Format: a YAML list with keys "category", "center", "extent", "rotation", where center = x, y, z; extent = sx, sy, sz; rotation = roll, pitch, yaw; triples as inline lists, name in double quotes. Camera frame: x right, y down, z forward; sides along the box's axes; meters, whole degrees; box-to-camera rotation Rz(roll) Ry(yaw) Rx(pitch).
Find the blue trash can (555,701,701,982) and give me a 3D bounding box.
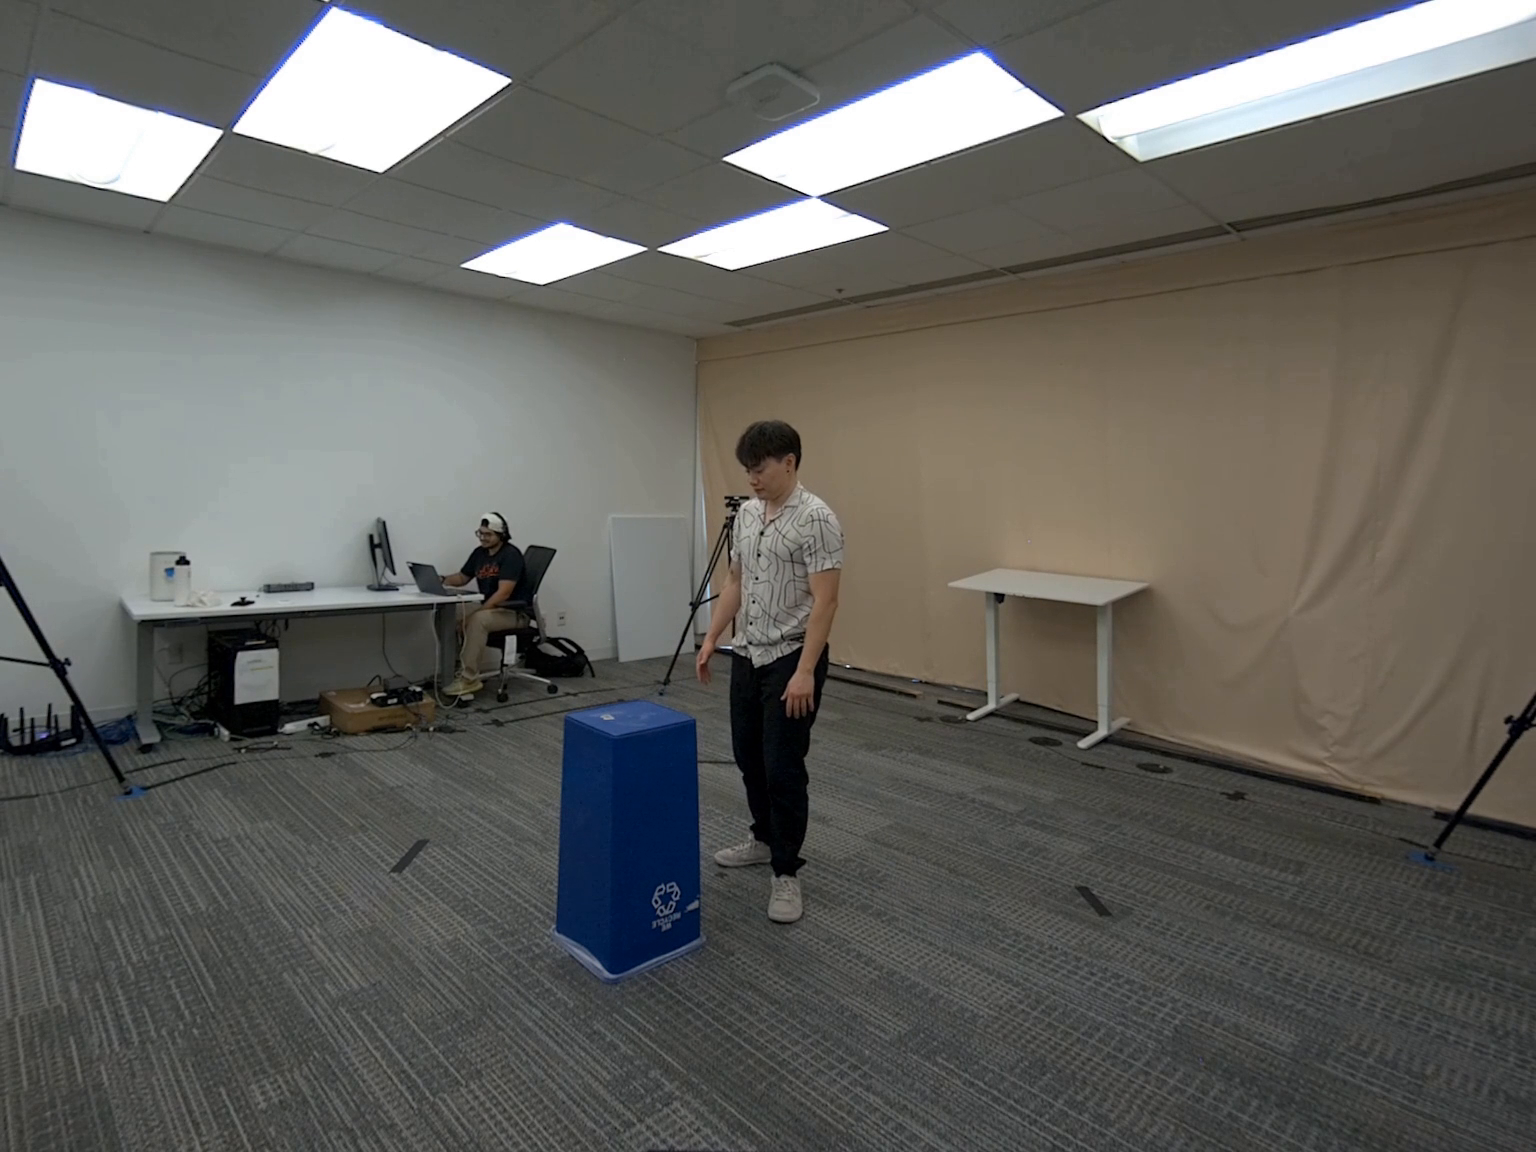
- category: "blue trash can"
  center: [-0.437, 0.788, 2.604]
  extent: [0.369, 0.711, 0.383]
  rotation: [-3, 6, -41]
